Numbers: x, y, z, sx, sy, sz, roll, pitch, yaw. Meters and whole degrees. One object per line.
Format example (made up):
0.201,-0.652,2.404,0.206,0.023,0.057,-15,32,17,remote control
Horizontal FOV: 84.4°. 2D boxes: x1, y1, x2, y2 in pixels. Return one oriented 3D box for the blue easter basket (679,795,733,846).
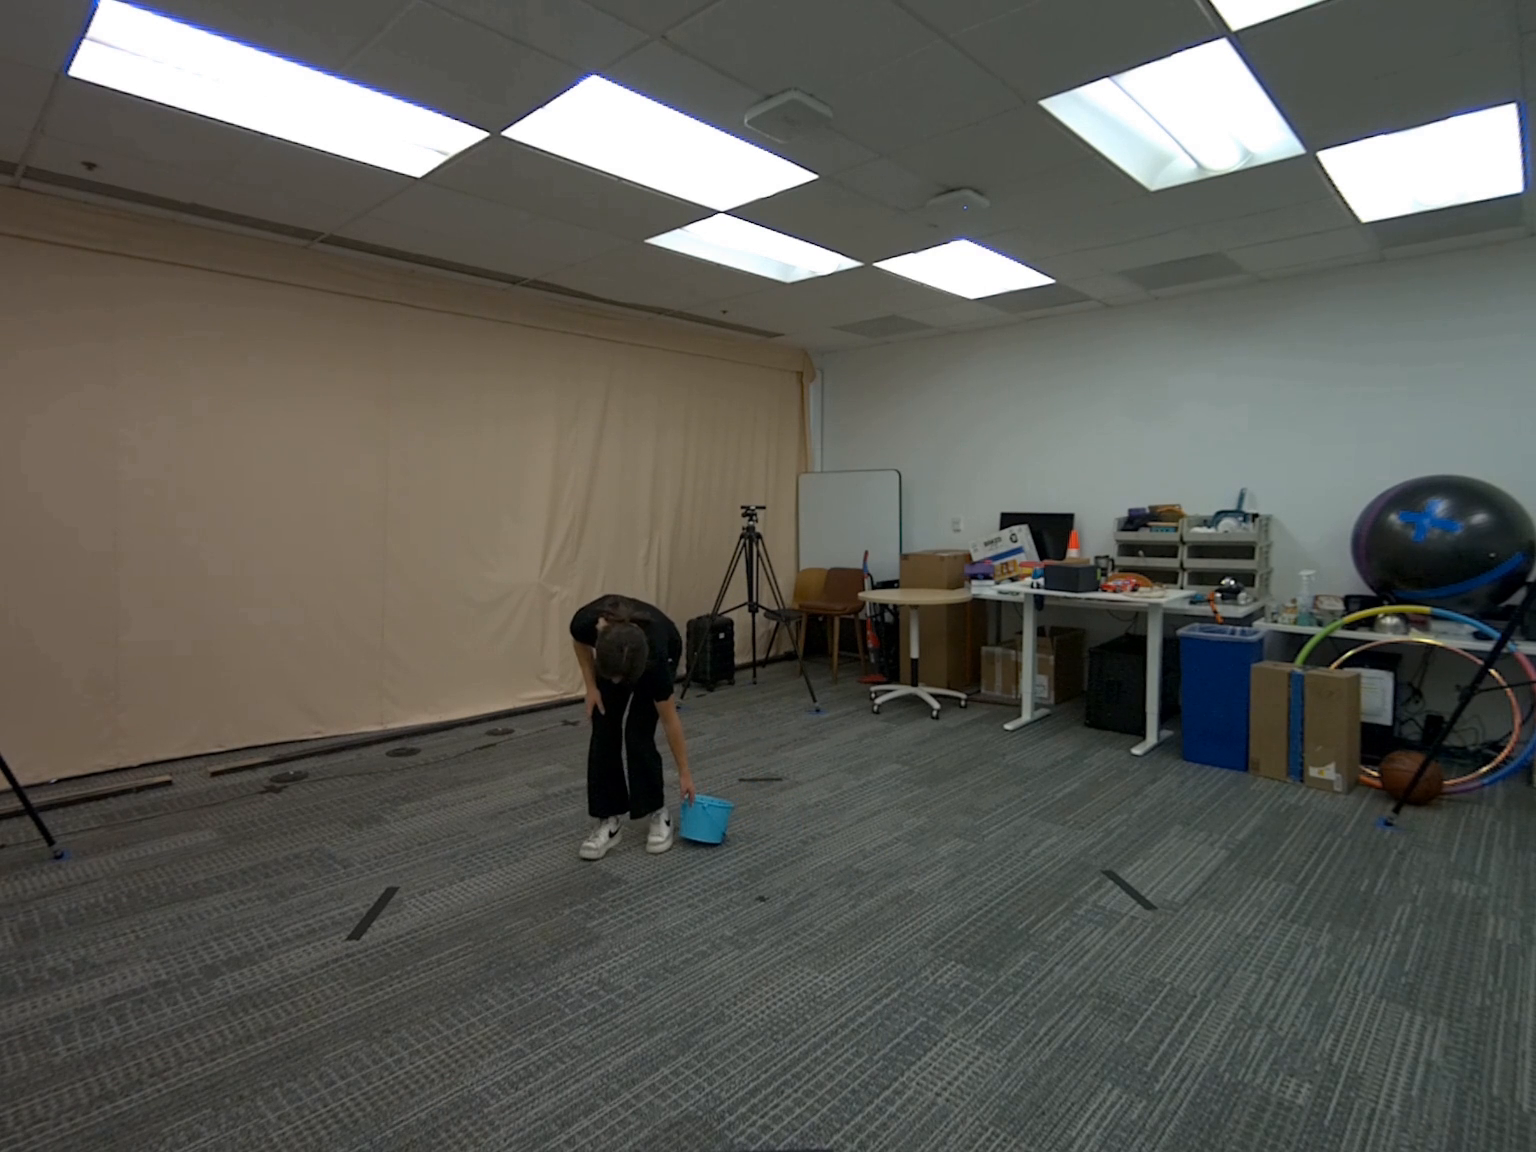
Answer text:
-0.268,1.007,3.489,0.244,0.156,0.242,7,-8,-1,blue easter basket
